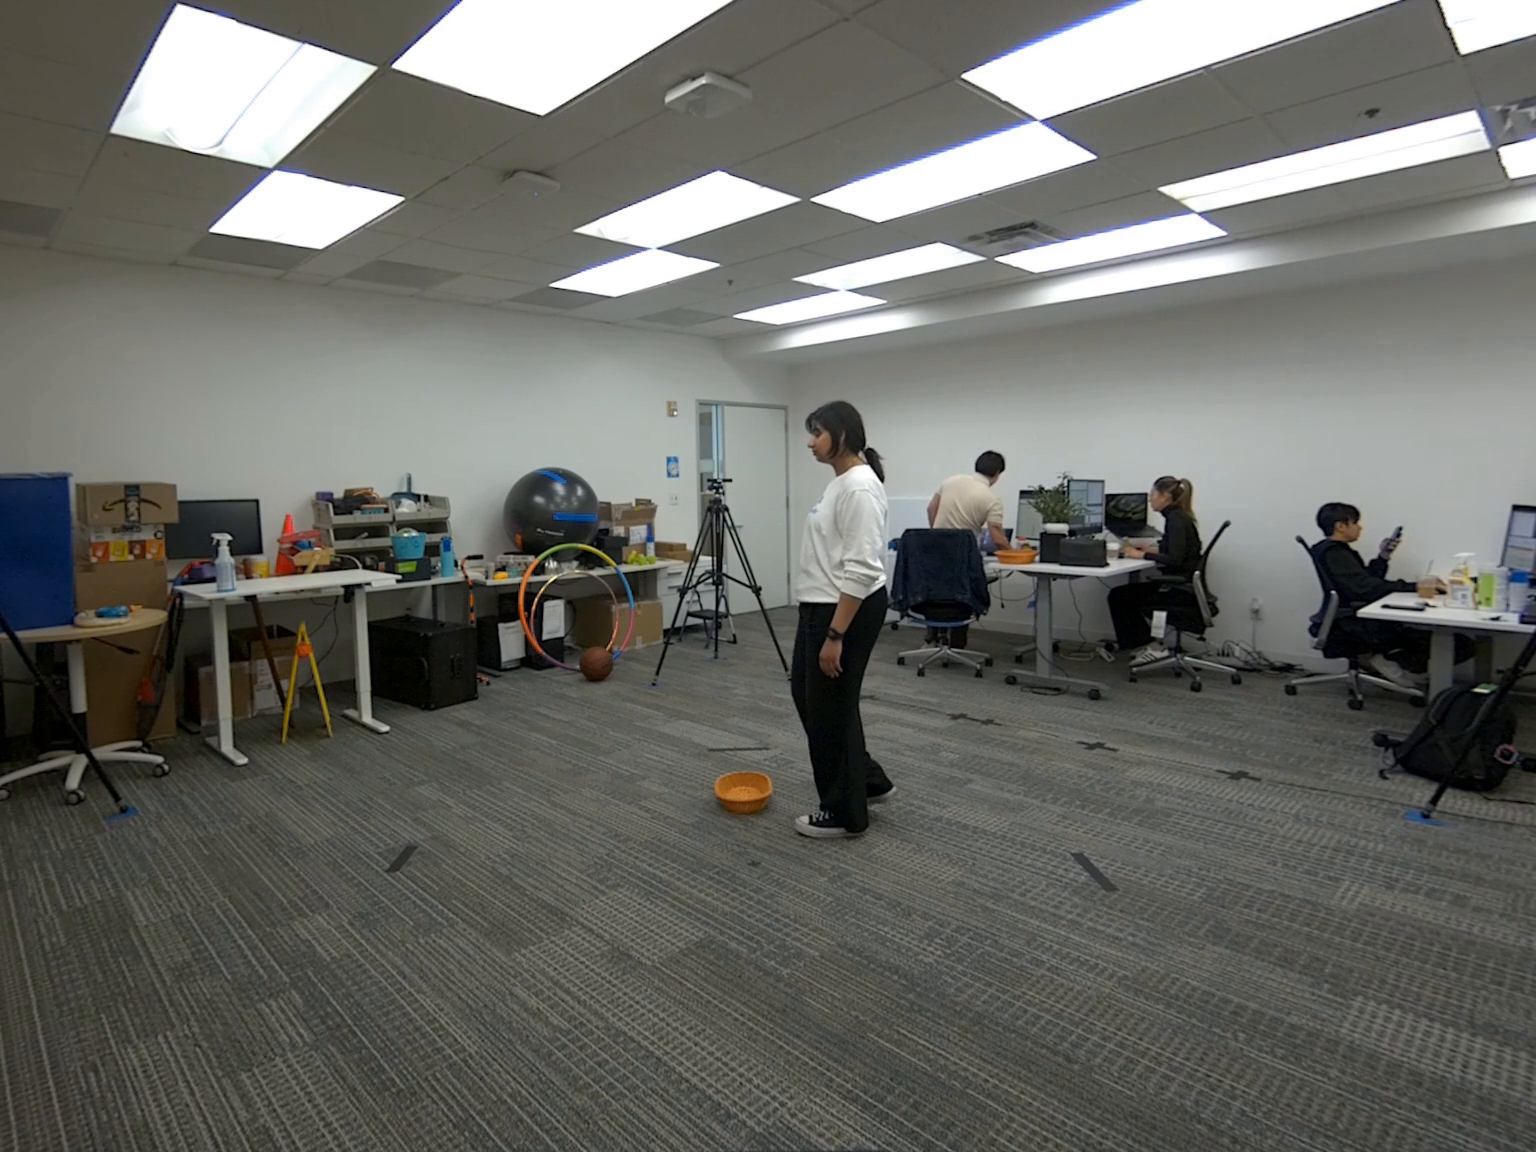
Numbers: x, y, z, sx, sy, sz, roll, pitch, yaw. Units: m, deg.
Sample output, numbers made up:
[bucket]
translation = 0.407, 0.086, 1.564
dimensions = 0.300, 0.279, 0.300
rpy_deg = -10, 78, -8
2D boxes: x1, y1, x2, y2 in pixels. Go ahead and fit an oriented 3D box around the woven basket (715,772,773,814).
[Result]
[woven basket]
translation = -0.105, 0.938, 3.711
dimensions = 0.252, 0.073, 0.352
rpy_deg = -3, 6, -1
